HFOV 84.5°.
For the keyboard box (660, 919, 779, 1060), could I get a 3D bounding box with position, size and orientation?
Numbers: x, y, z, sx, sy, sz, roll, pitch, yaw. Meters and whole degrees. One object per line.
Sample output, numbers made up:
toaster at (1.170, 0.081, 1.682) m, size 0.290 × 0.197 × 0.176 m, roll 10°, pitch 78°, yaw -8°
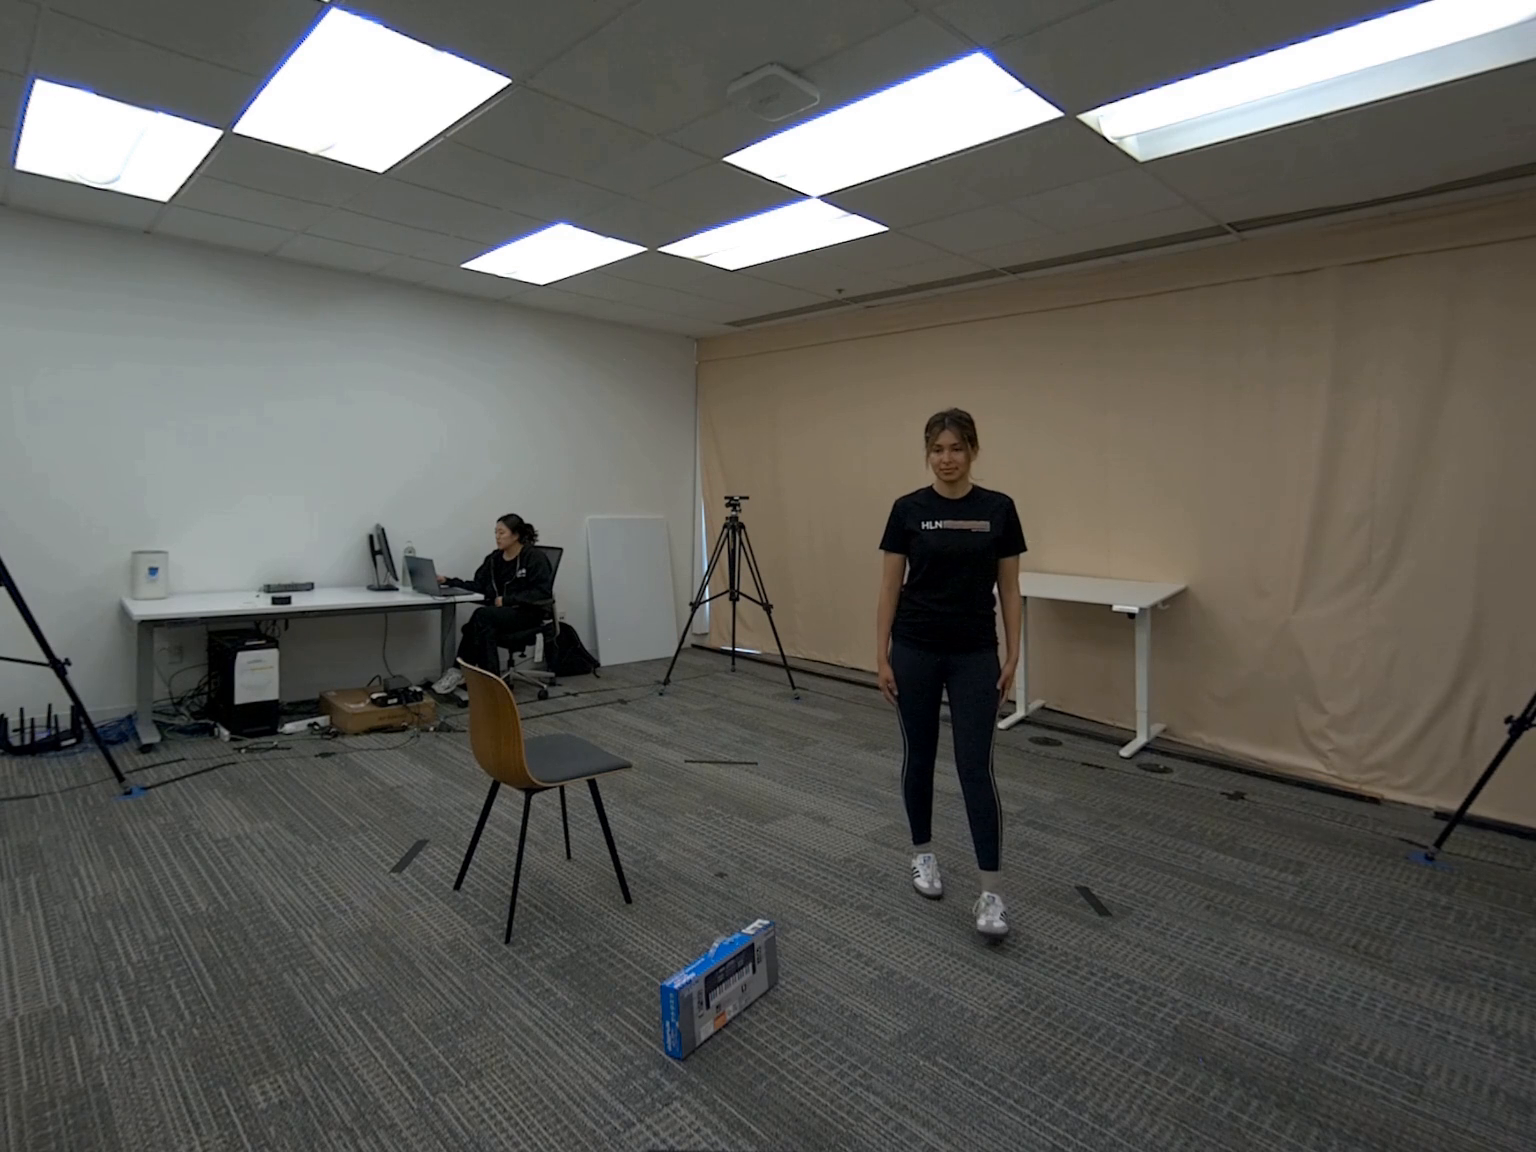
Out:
keyboard box at (-0.123, 1.098, 2.257) m, size 0.060 × 0.176 × 0.428 m, roll -4°, pitch 1°, yaw 35°
